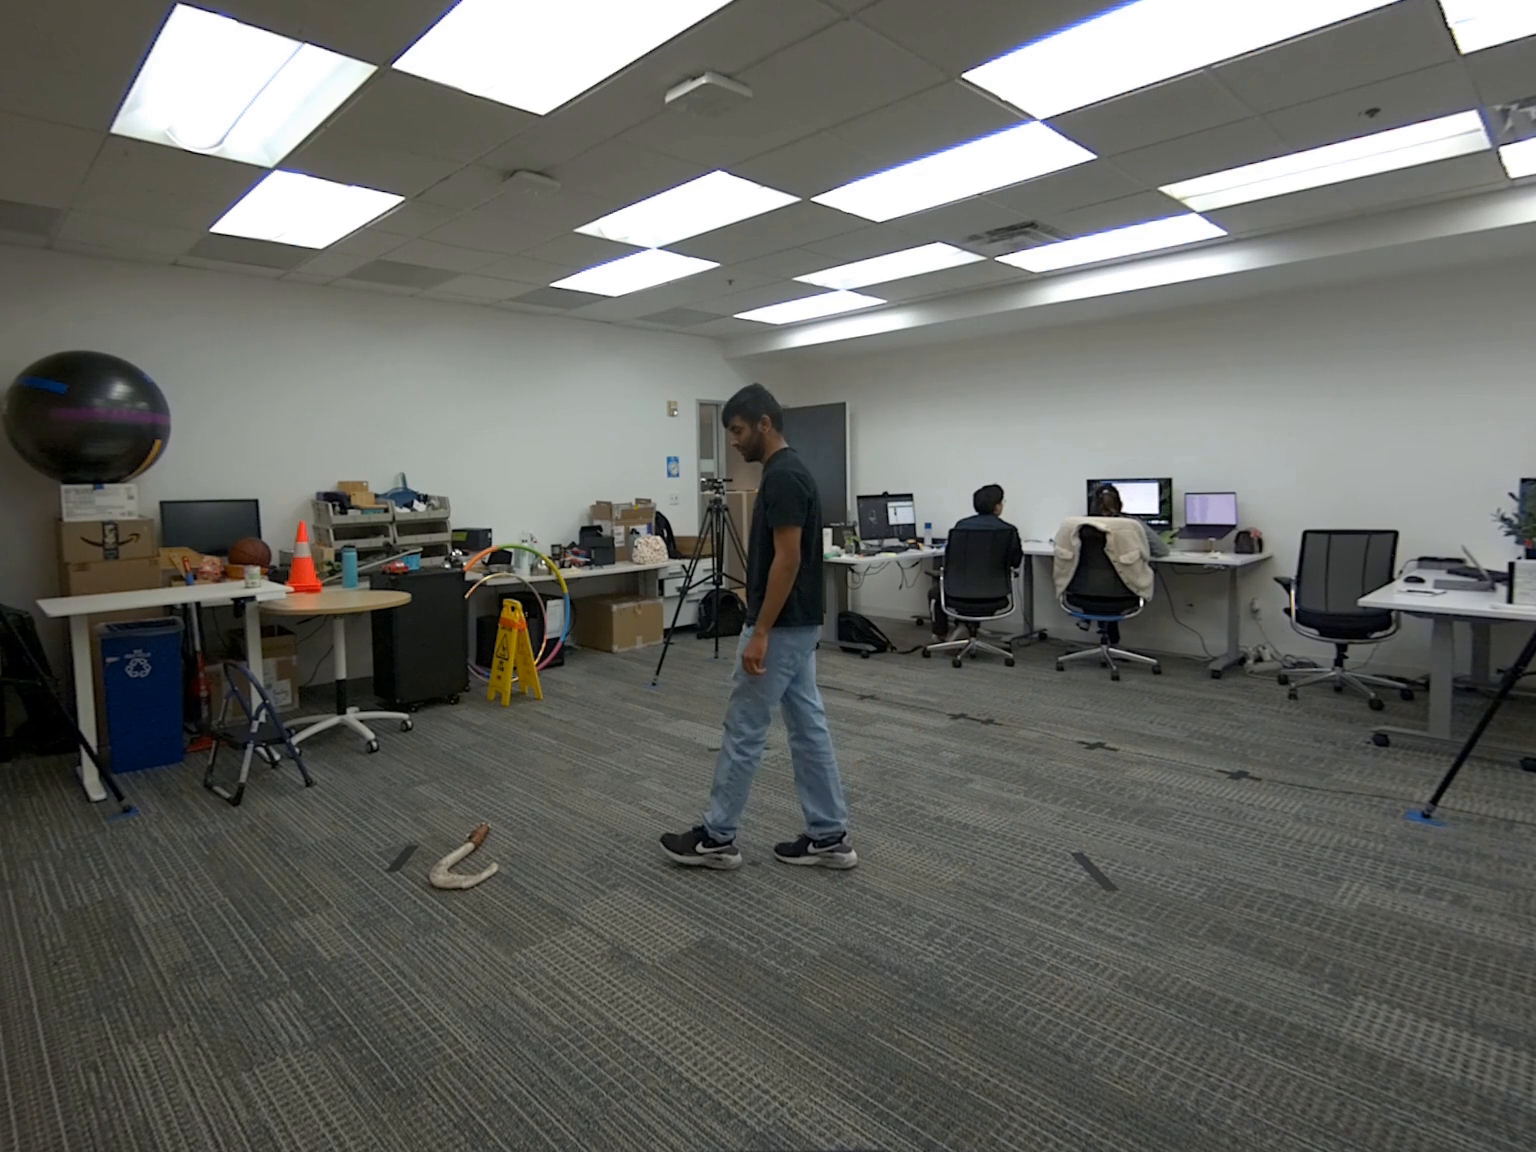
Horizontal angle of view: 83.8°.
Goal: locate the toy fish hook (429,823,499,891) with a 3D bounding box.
[{"bbox_3d":[-1.081,1.038,3.196,0.225,0.048,0.508,6,7,0],"label":"toy fish hook"}]
